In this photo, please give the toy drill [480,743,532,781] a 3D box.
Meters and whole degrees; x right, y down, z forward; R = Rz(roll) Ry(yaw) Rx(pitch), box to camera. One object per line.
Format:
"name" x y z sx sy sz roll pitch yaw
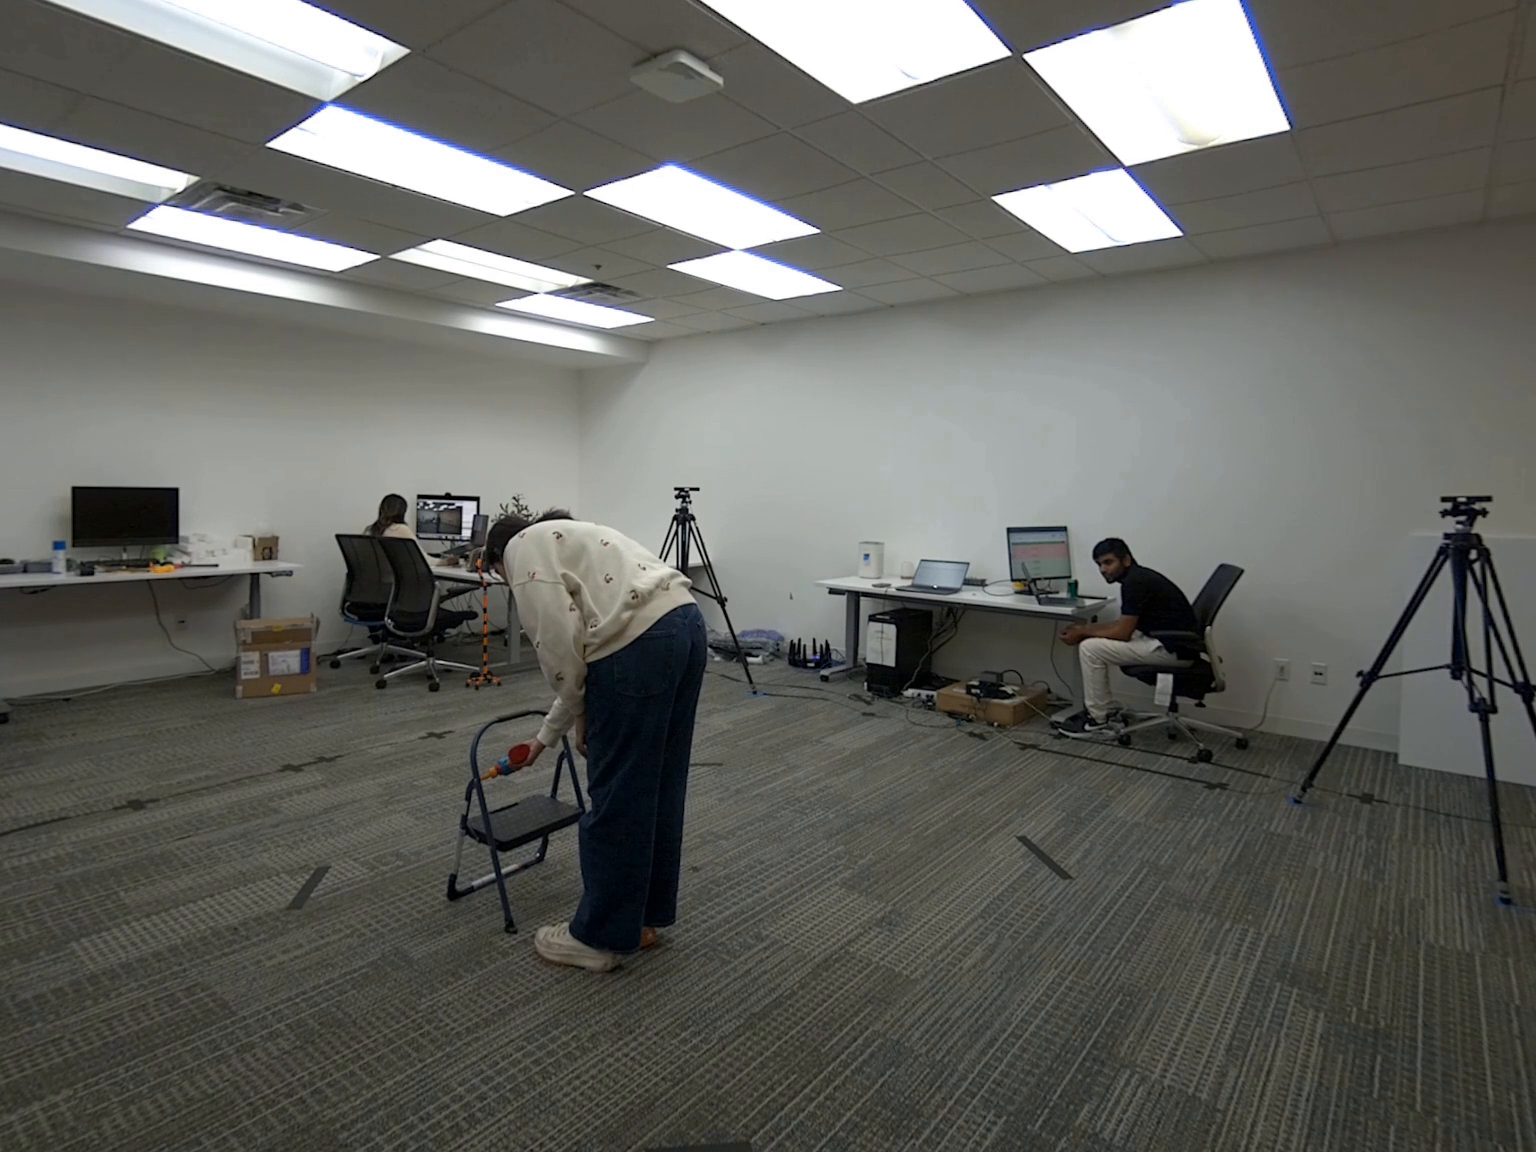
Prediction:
"toy drill" -0.866 0.613 2.748 0.167 0.062 0.145 -25 -15 -33
